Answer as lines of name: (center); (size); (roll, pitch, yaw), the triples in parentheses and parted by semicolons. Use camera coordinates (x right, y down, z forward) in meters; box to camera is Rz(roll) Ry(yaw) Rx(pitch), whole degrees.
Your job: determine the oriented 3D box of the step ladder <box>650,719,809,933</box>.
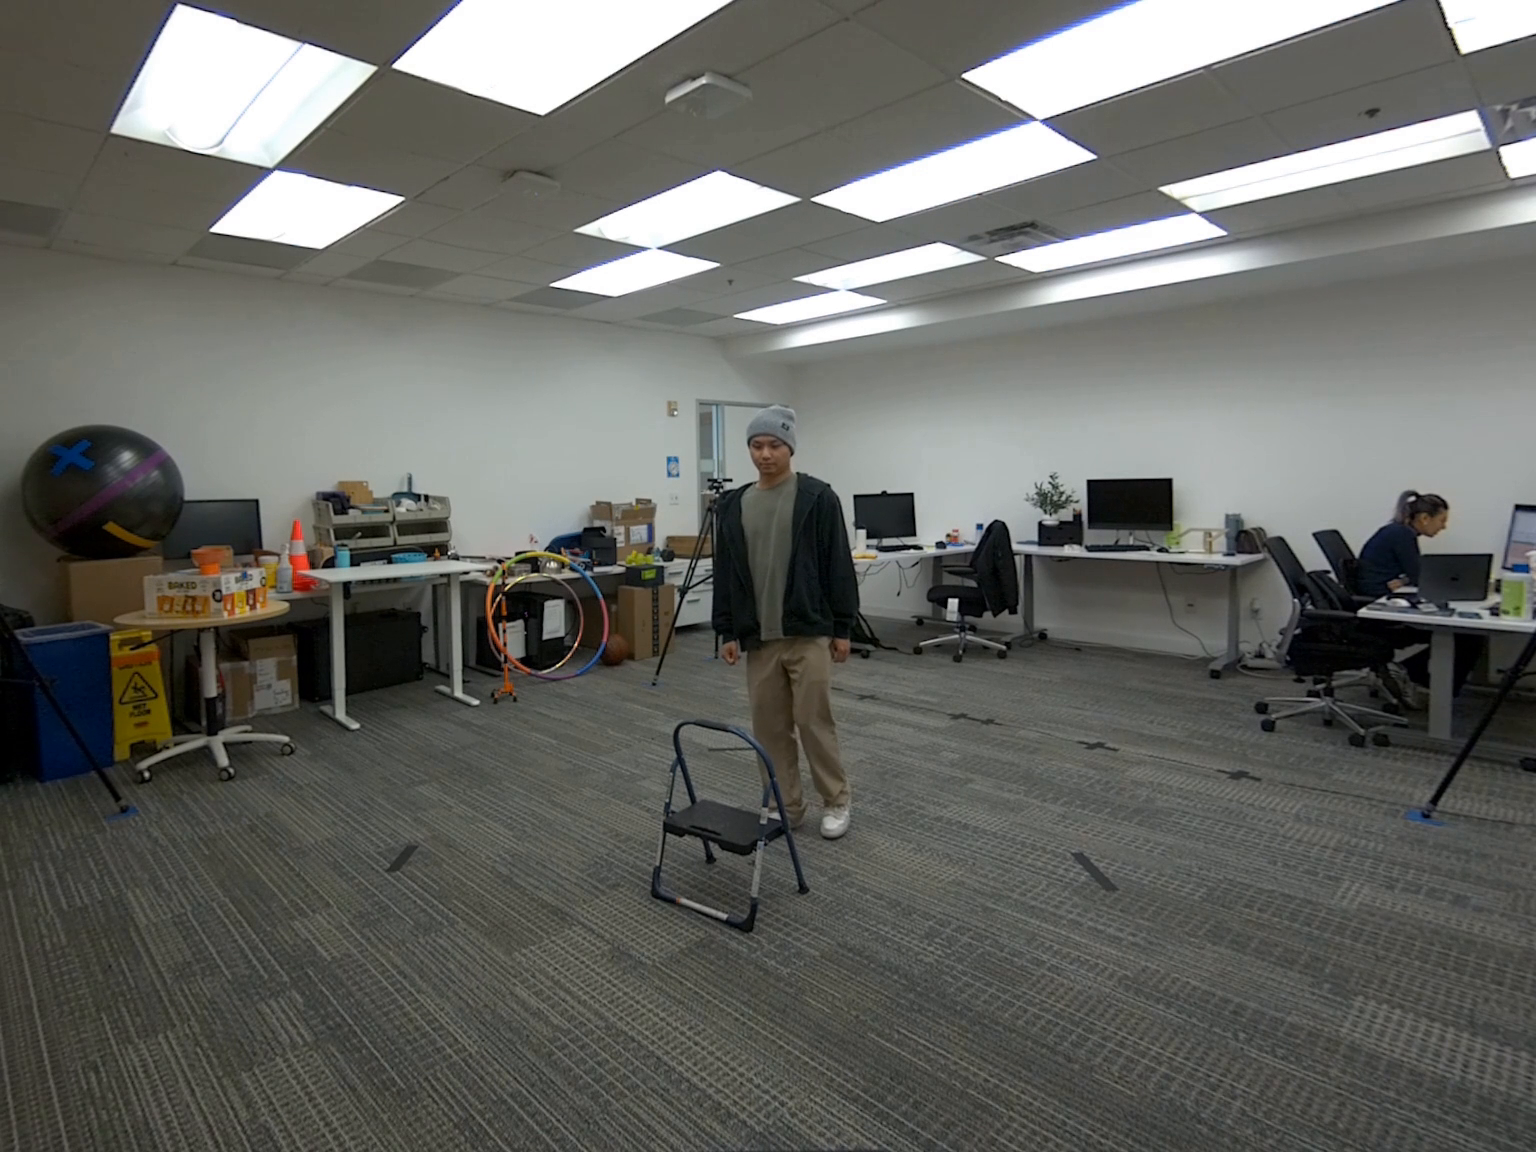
step ladder: (-0.136, 0.771, 2.866); (0.443, 0.604, 0.341); (2, 5, 35)
